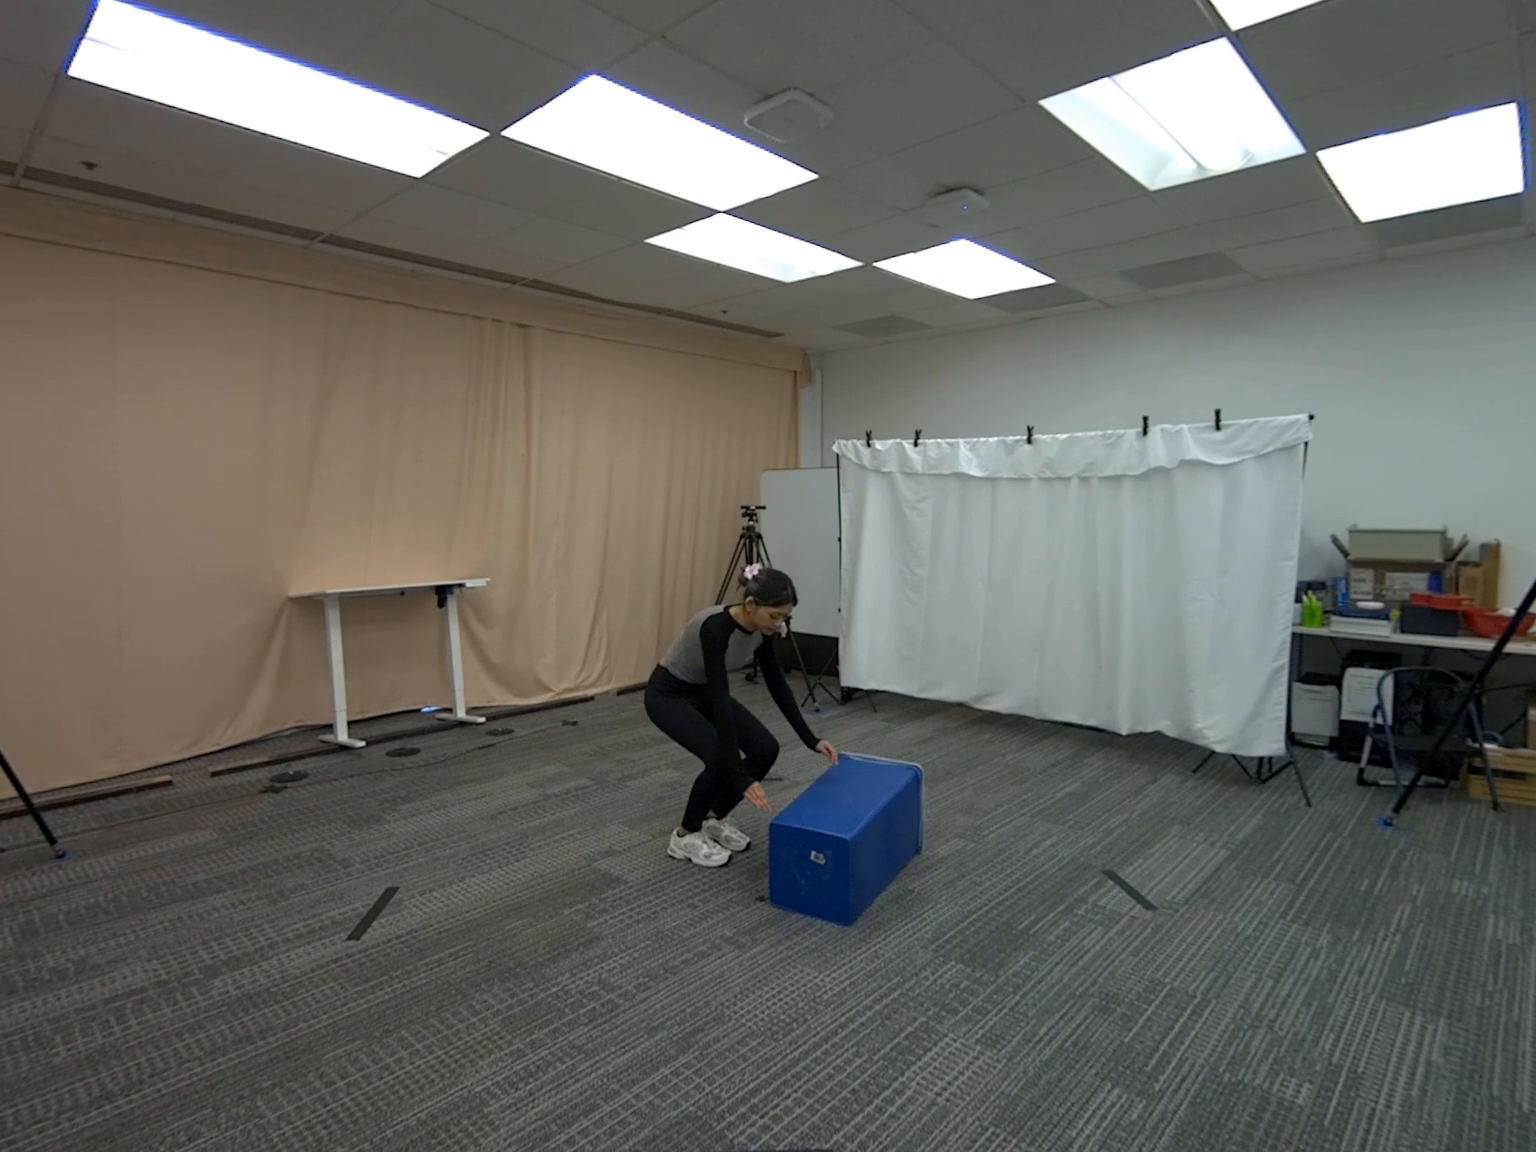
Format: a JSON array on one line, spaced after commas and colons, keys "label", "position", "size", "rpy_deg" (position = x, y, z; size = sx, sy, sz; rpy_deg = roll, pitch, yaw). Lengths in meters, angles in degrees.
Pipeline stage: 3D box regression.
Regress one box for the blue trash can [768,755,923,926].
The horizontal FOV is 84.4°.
[{"label": "blue trash can", "position": [0.295, 0.956, 3.142], "size": [0.385, 0.377, 0.696], "rpy_deg": [3, 7, 29]}]
